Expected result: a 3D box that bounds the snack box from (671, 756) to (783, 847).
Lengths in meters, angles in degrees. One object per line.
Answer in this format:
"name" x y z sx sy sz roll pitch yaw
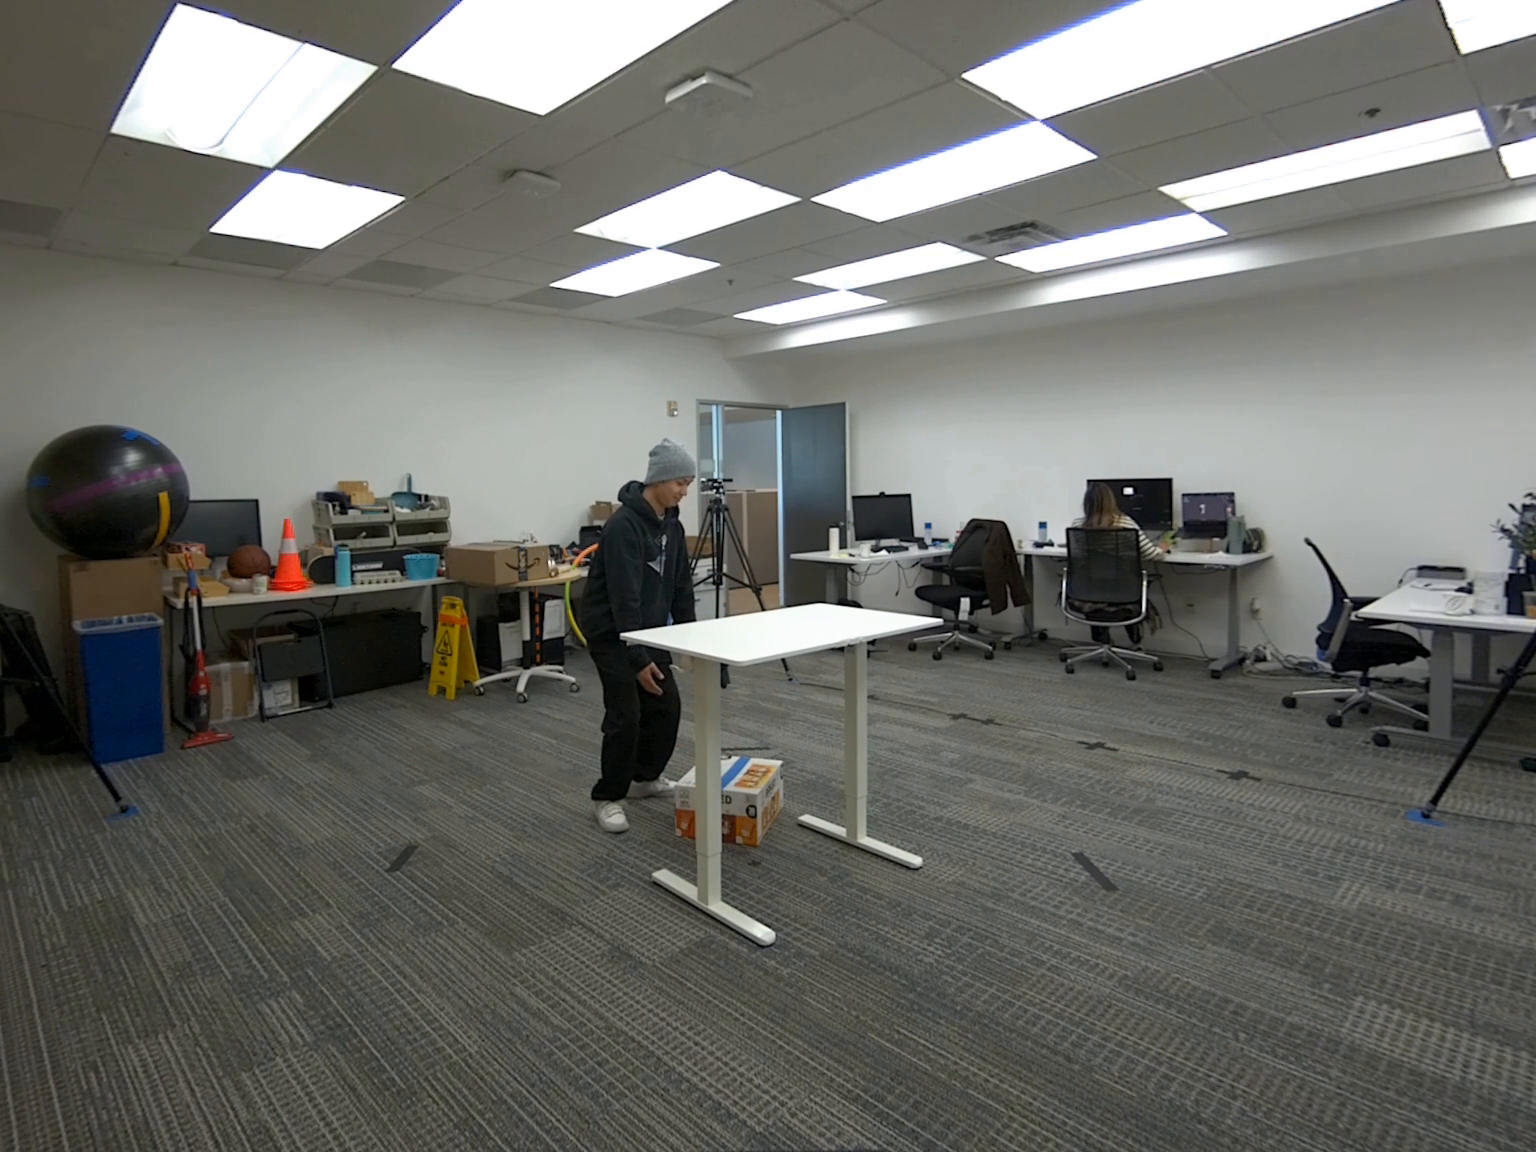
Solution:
"snack box" -0.149 0.903 3.488 0.346 0.205 0.400 1 6 17
